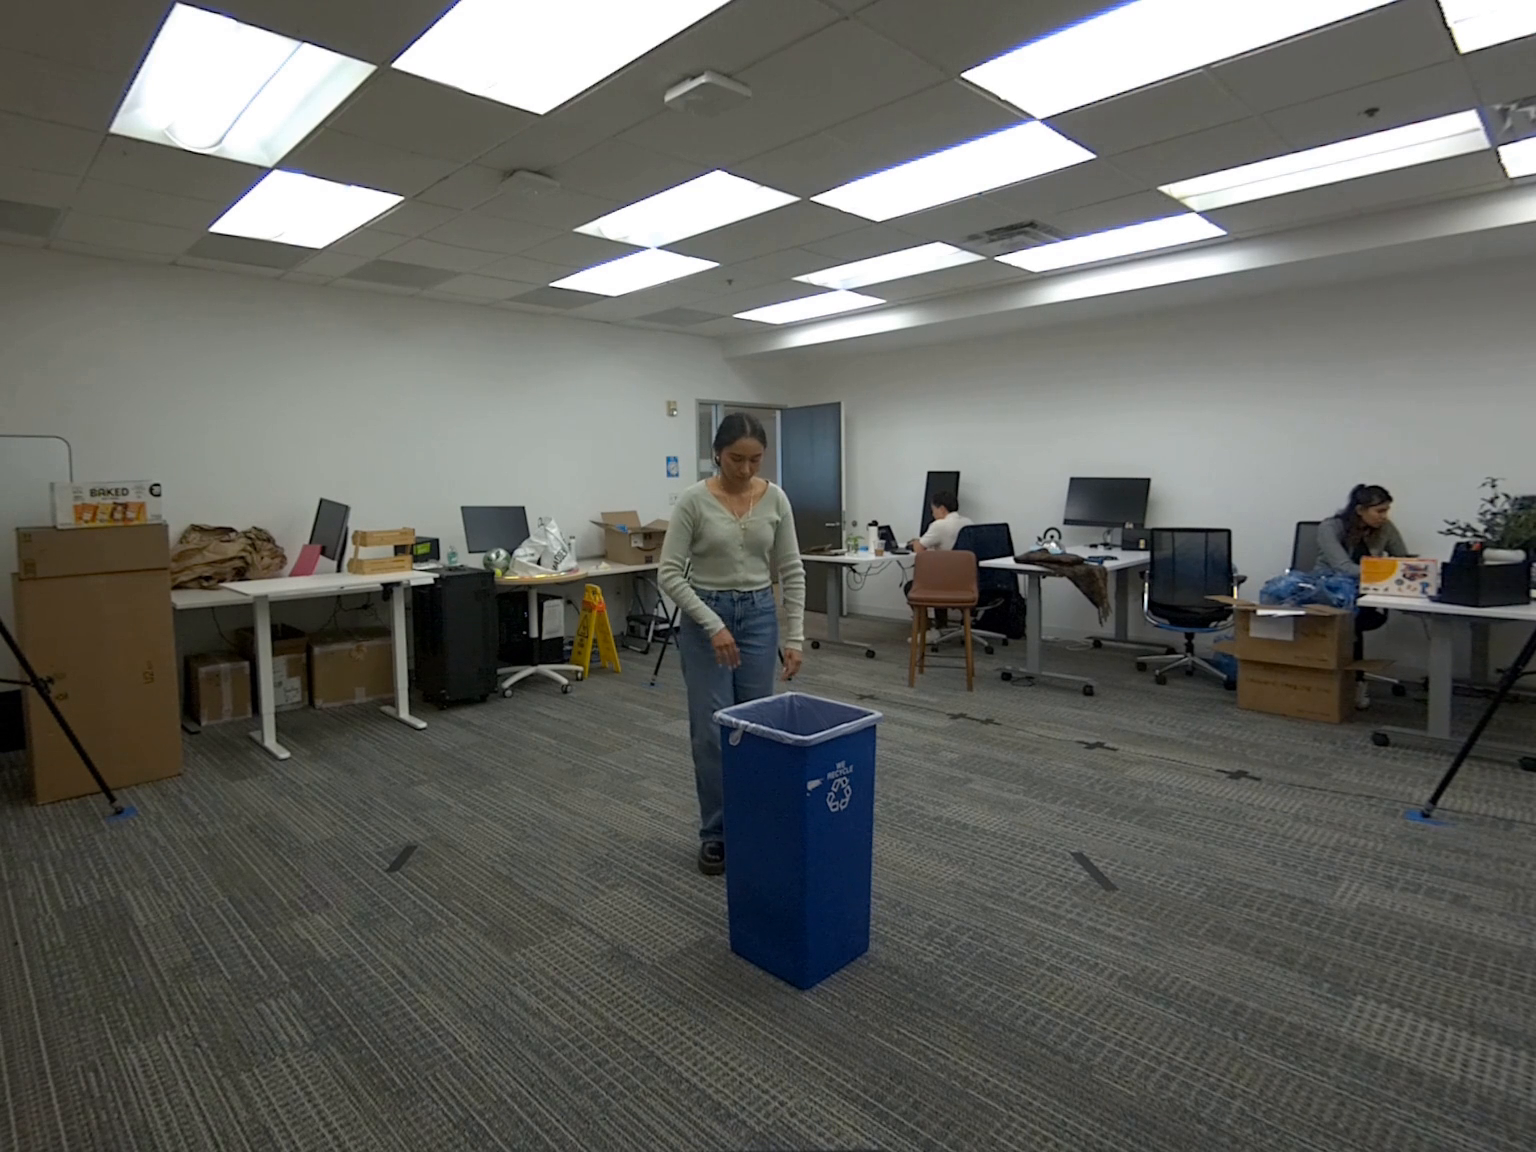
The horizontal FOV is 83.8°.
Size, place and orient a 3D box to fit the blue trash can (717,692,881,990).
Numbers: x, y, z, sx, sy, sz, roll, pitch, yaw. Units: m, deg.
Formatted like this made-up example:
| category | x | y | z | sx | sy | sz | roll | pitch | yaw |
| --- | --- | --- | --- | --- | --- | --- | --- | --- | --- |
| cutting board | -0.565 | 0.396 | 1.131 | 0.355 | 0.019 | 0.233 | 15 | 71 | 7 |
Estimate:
| category | x | y | z | sx | sy | sz | roll | pitch | yaw |
| --- | --- | --- | --- | --- | --- | --- | --- | --- | --- |
| blue trash can | 0.101 | 0.754 | 2.506 | 0.385 | 0.711 | 0.368 | 3 | 6 | 44 |
